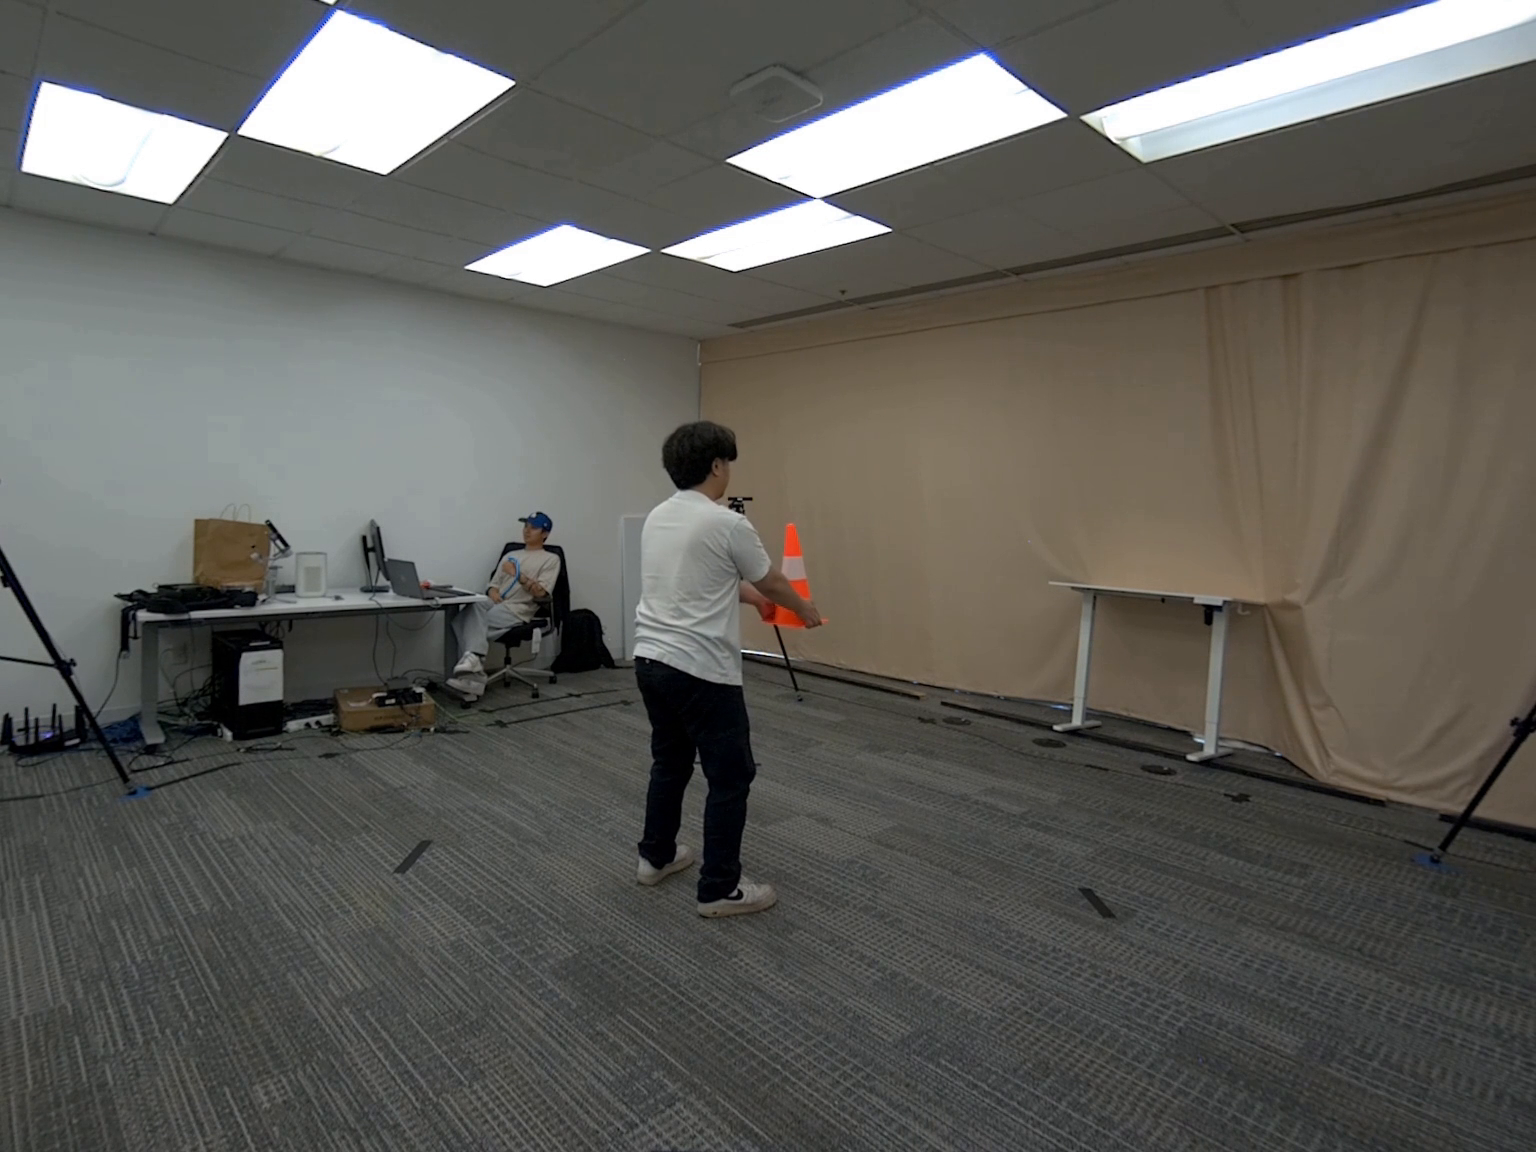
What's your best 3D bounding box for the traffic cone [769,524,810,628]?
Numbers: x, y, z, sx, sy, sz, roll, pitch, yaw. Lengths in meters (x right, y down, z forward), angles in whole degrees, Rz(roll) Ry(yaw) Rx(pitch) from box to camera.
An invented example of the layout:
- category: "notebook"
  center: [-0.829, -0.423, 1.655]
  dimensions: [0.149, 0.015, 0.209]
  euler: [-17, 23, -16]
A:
- category: "traffic cone"
  center: [0.088, -0.007, 3.277]
  dimensions: [0.209, 0.382, 0.200]
  euler: [1, 4, 29]
